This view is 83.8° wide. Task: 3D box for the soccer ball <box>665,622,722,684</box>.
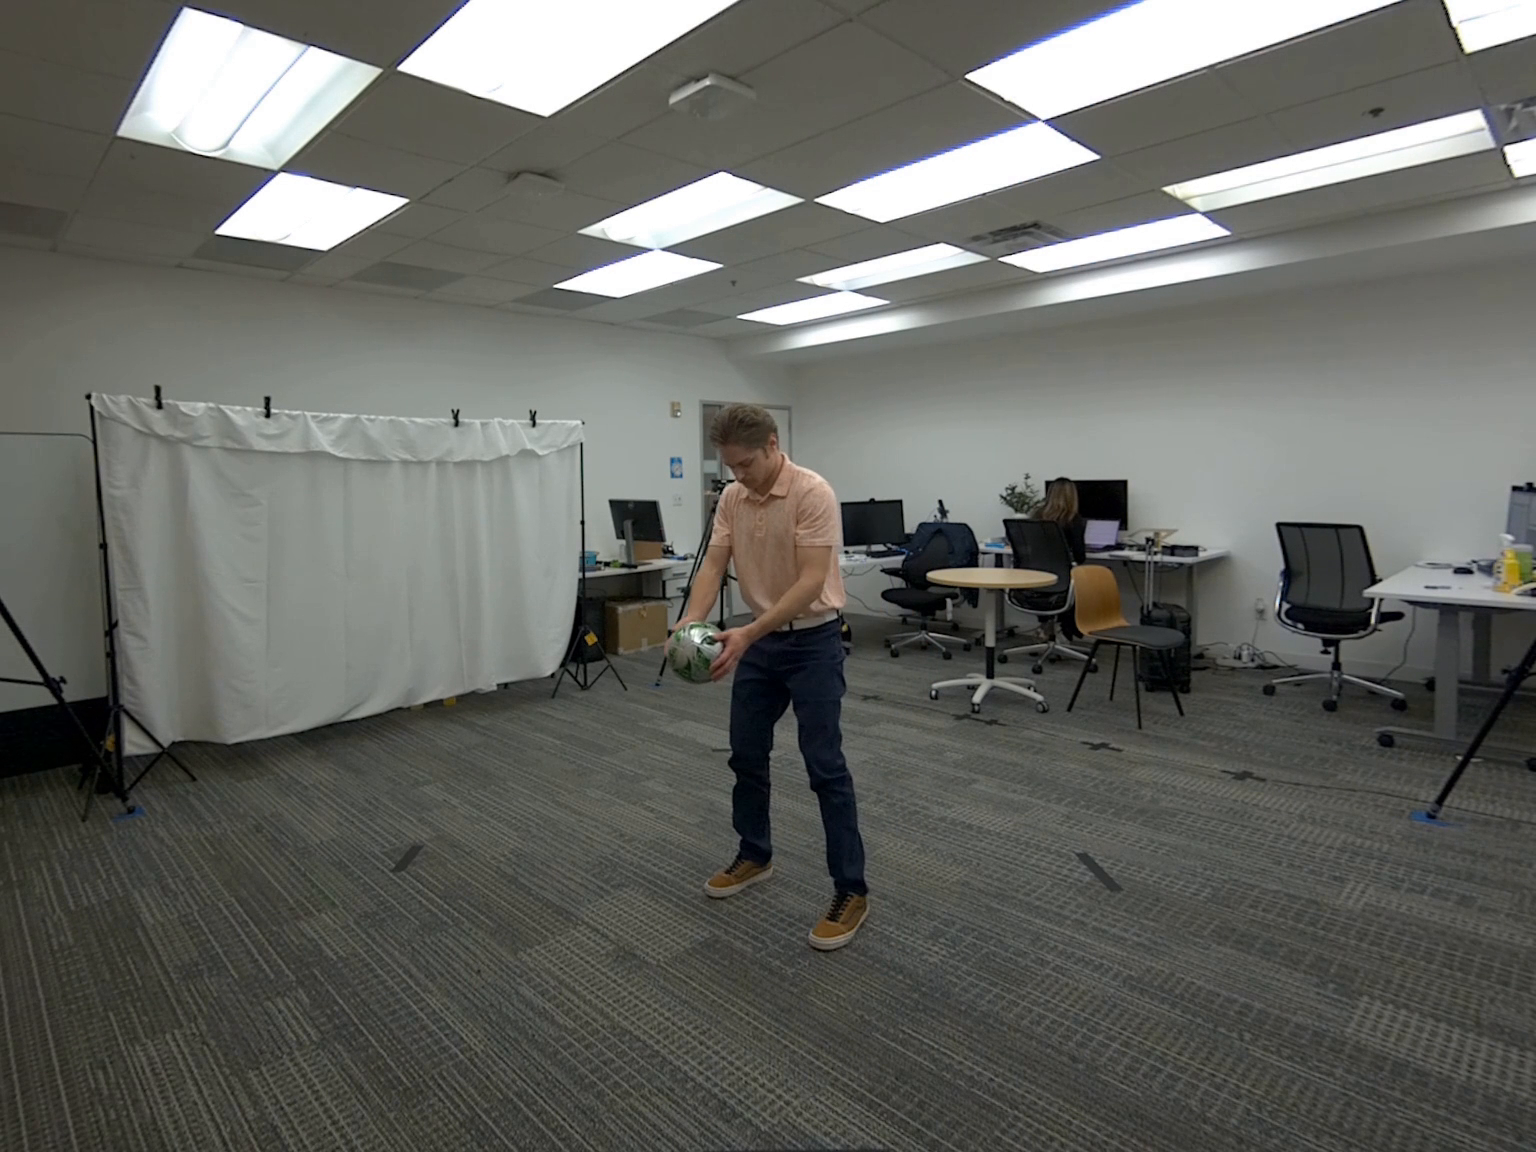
[{"bbox_3d":[-0.205,0.230,2.538,0.187,0.187,0.188,-1,5,-2],"label":"soccer ball"}]
